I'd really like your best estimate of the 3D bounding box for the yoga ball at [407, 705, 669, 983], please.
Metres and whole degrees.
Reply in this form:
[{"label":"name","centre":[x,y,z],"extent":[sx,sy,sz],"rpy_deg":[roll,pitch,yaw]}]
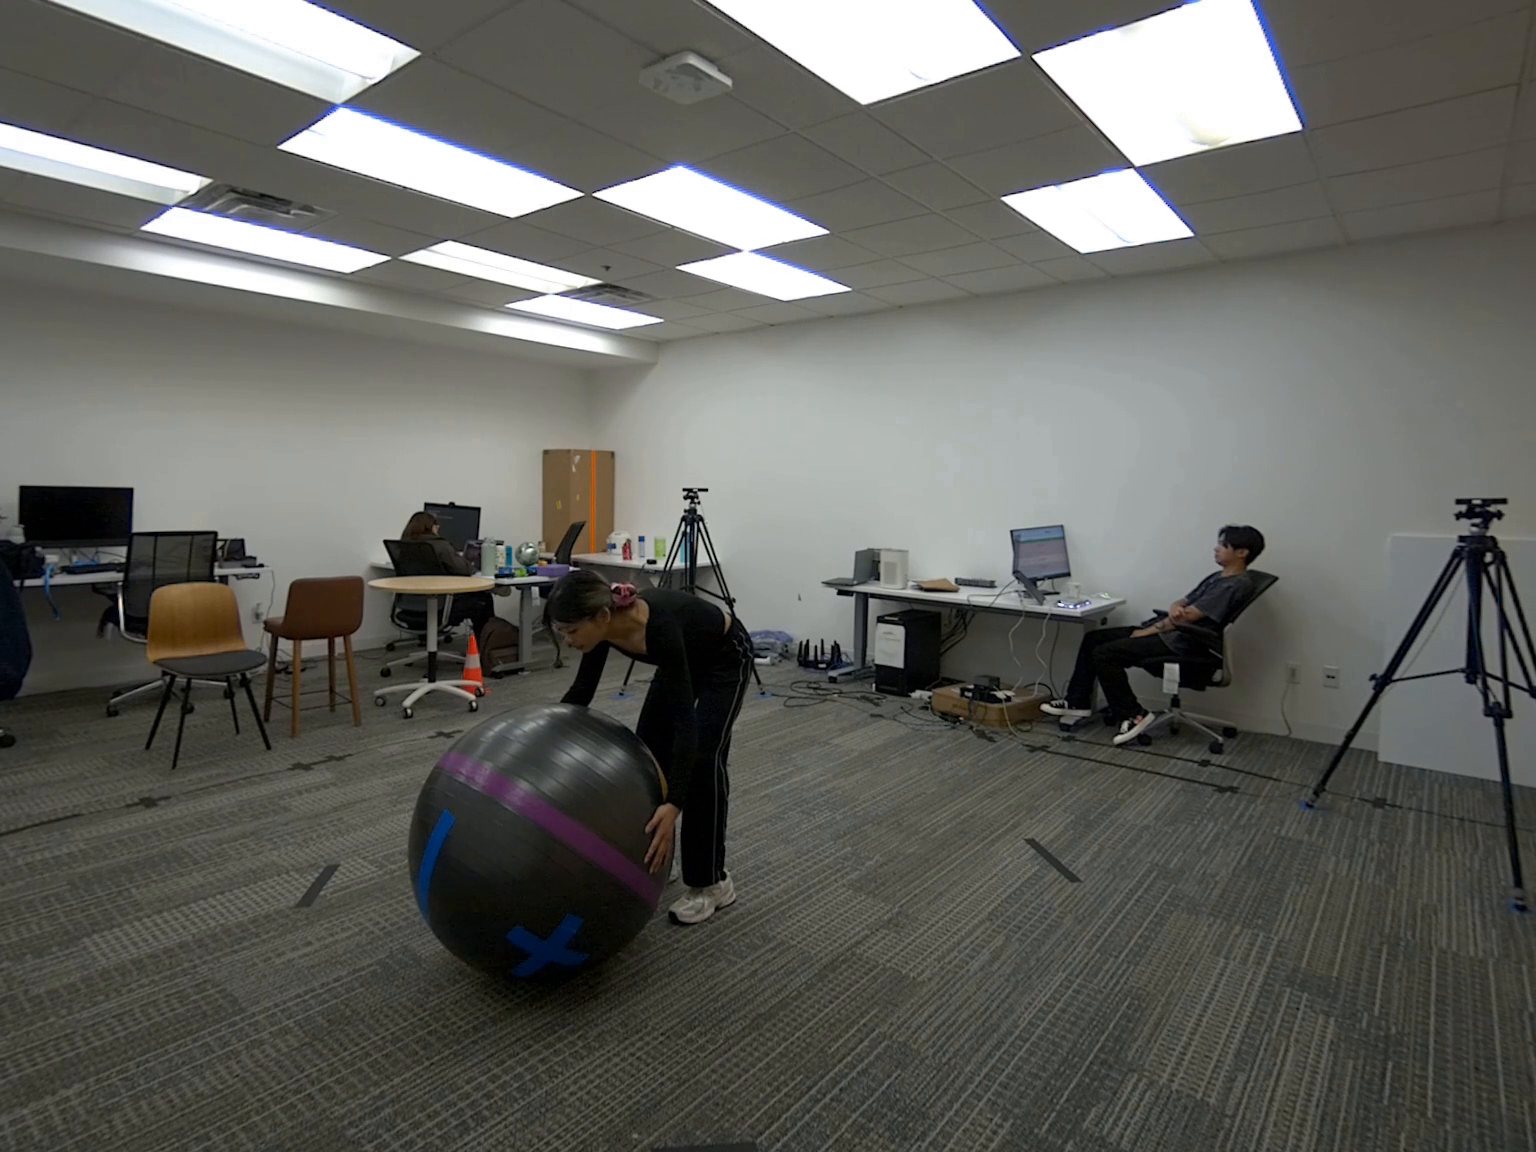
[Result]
[{"label":"yoga ball","centre":[-0.668,0.746,2.455],"extent":[0.757,0.755,0.762],"rpy_deg":[1,4,-2]}]
